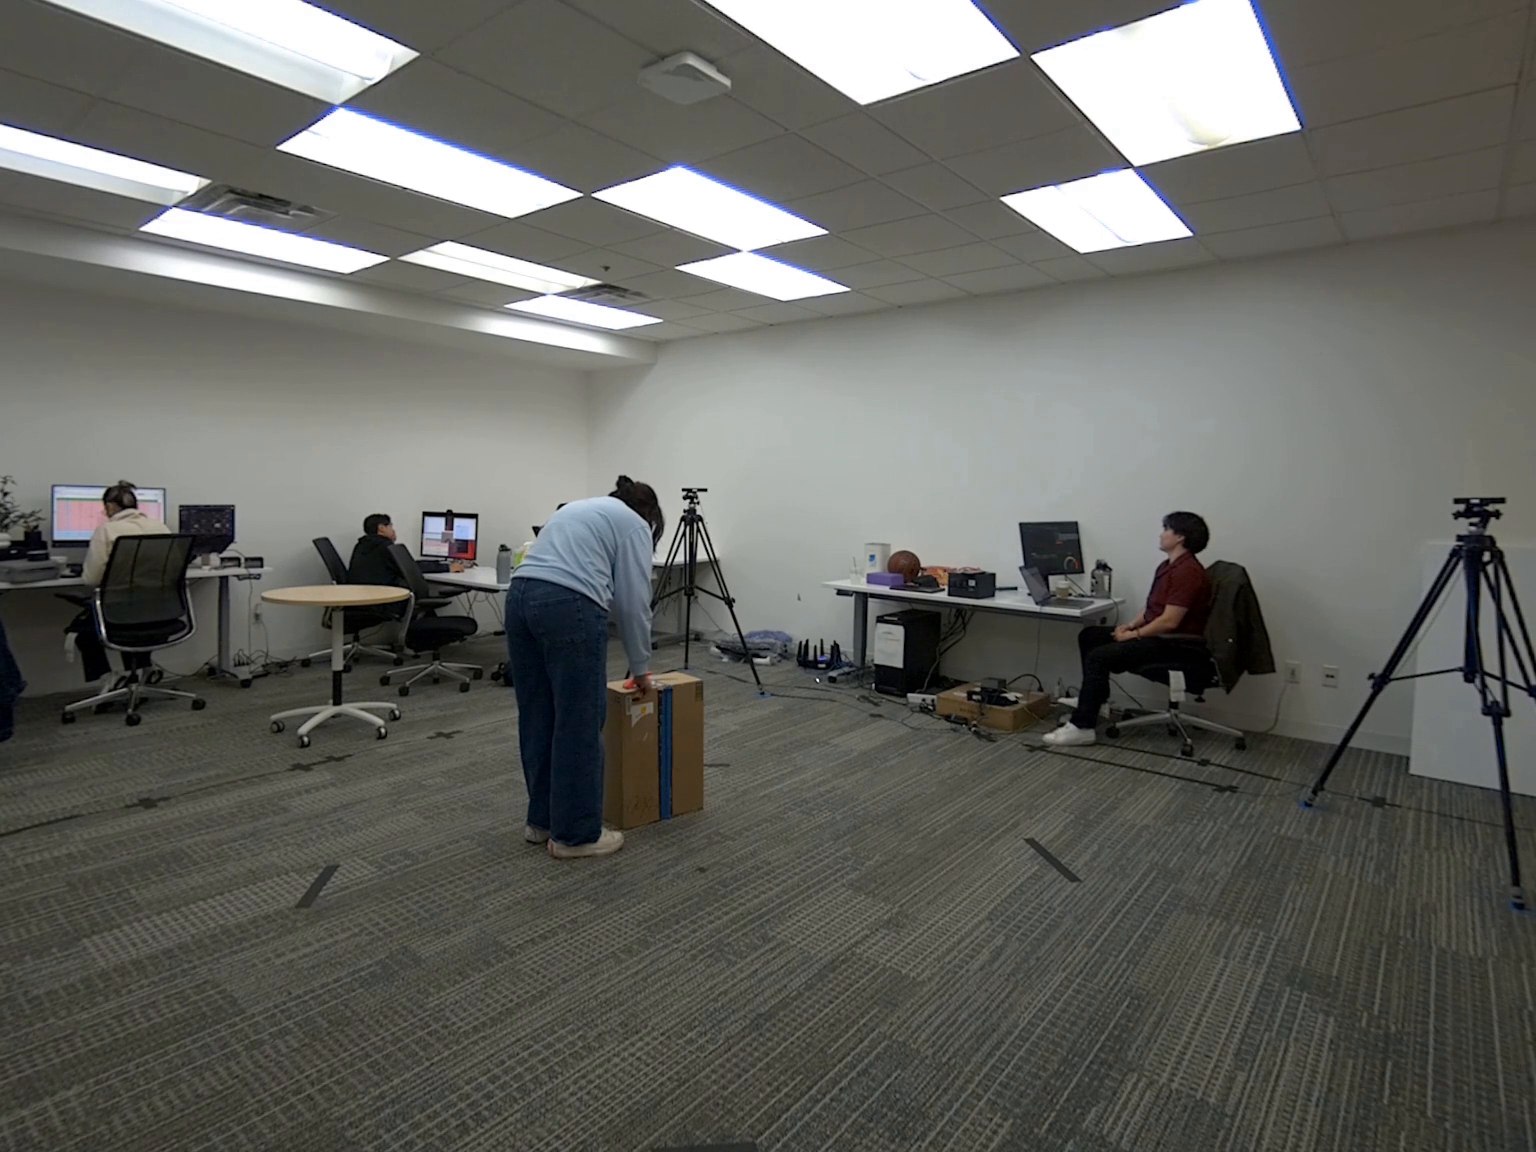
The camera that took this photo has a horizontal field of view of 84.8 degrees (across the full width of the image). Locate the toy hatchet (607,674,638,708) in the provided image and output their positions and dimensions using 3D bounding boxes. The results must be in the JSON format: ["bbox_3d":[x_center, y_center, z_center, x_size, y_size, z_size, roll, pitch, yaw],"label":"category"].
[{"bbox_3d":[-0.593,0.463,3.444,0.132,0.029,0.270,-16,12,13],"label":"toy hatchet"}]
